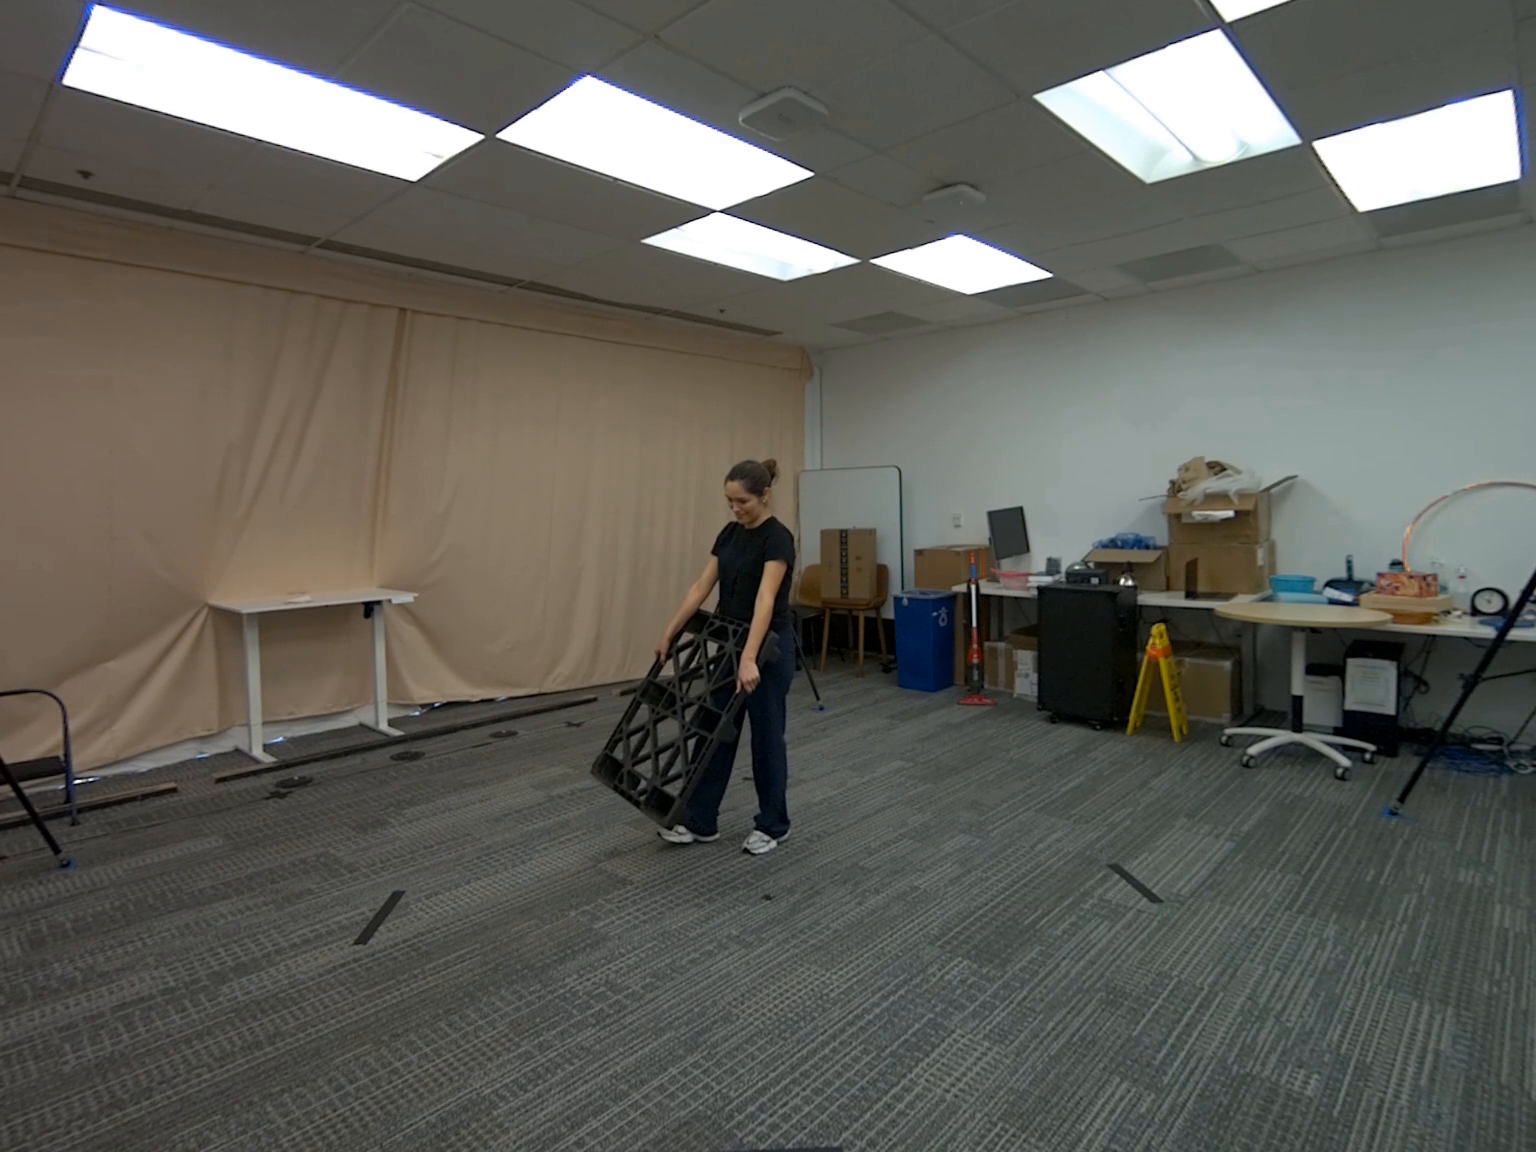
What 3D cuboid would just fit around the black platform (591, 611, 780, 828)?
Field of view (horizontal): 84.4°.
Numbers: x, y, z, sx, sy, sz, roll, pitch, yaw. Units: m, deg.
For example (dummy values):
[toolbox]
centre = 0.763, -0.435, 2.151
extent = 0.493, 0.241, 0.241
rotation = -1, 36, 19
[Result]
[black platform]
centre = -0.304, 0.534, 3.293
extent = 0.138, 0.805, 0.626
rotation = 39, -16, -36
